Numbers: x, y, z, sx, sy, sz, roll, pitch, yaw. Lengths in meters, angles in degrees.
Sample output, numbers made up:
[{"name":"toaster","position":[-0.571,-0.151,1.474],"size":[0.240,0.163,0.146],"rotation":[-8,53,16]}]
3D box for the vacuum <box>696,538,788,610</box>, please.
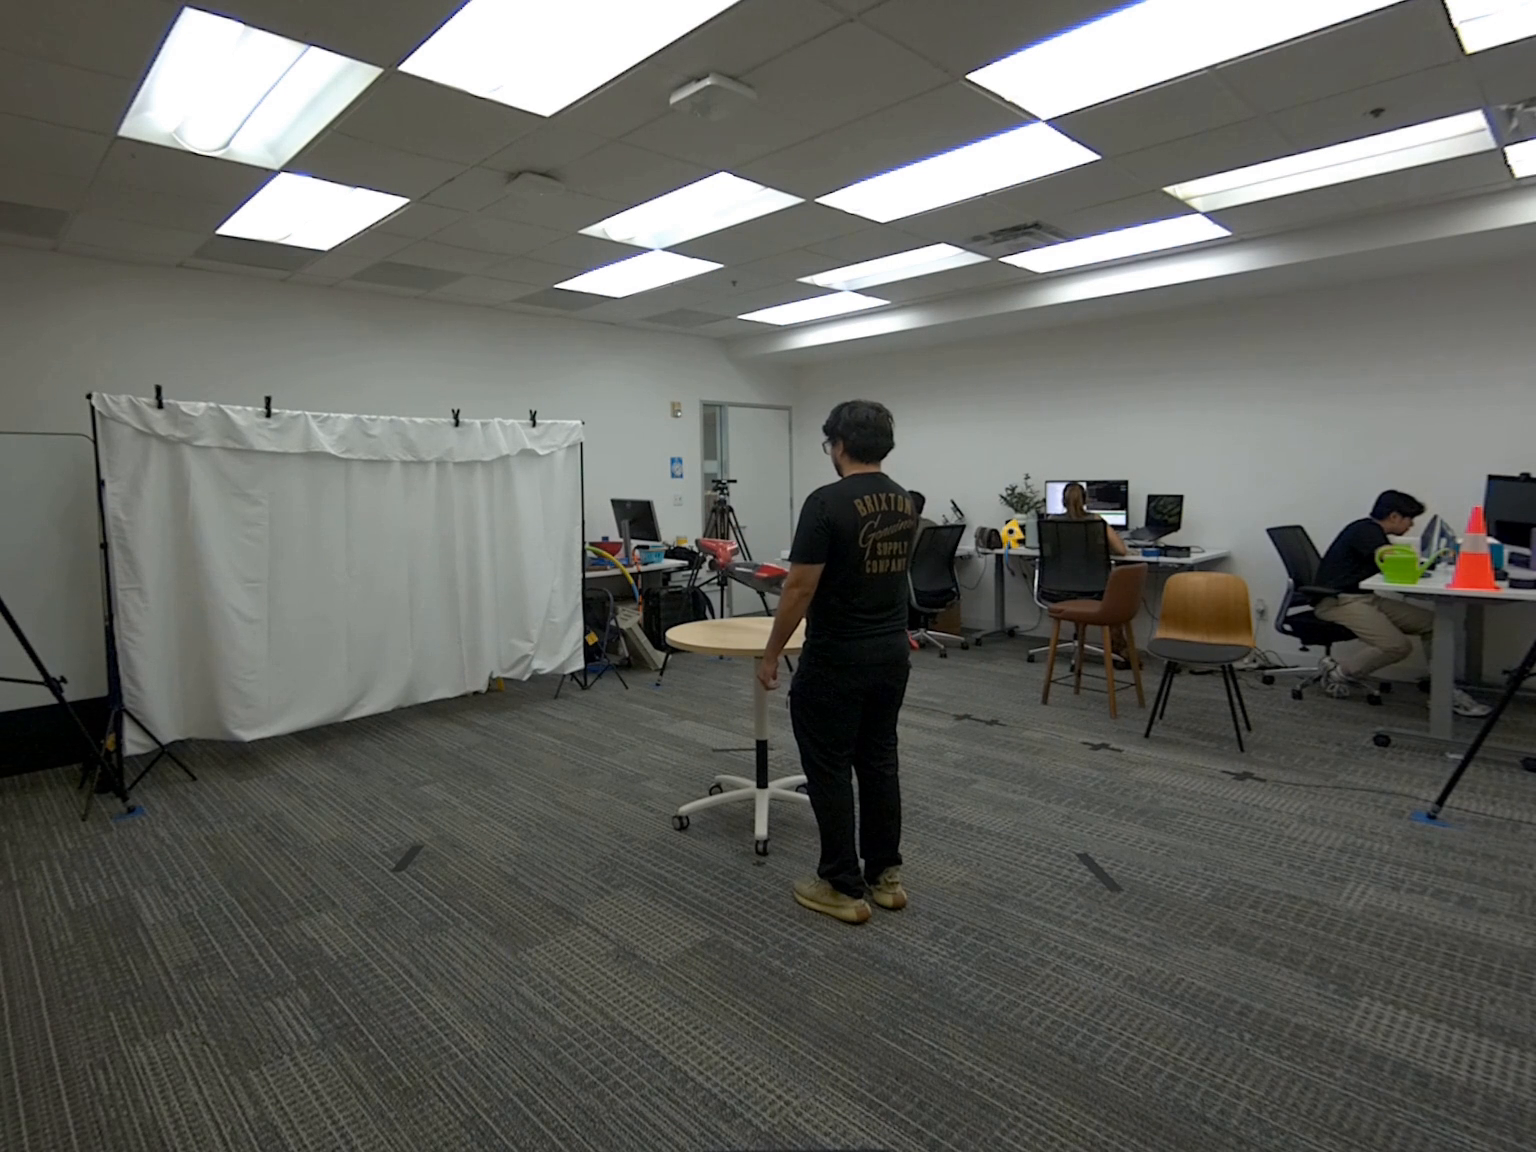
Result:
[{"name":"vacuum","position":[0.142,0.071,3.397],"size":[0.245,0.143,1.089],"rotation":[3,16,-46]}]
